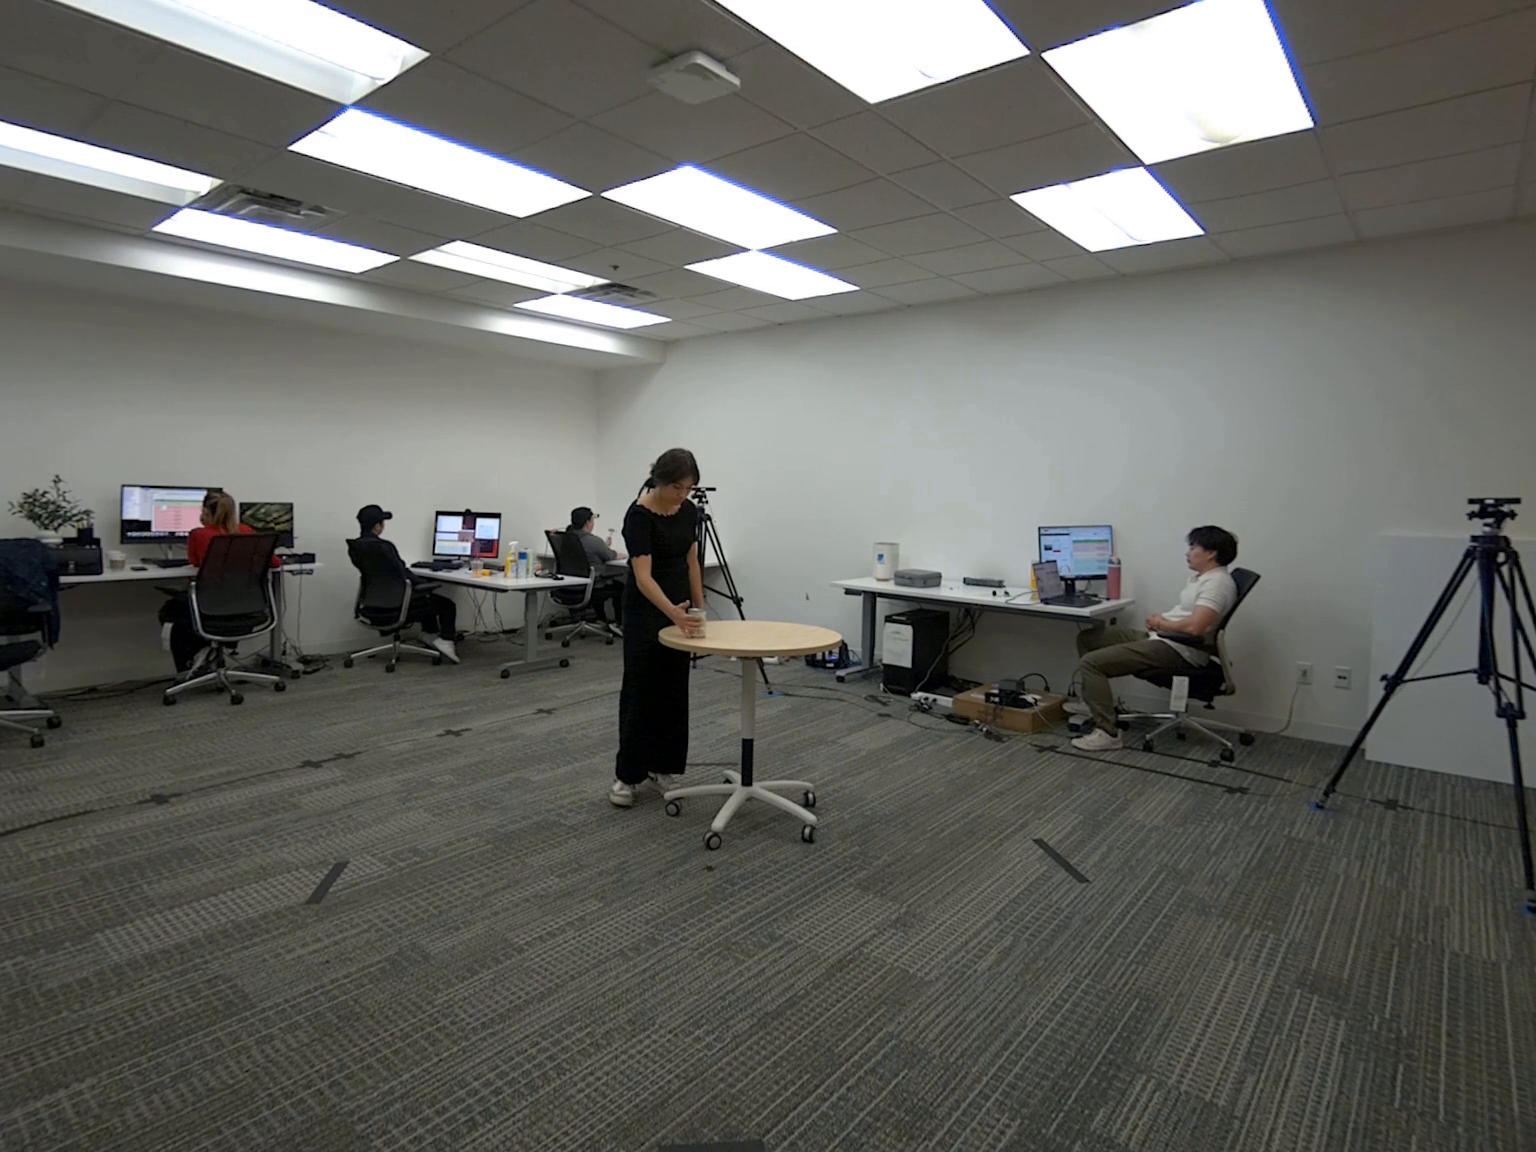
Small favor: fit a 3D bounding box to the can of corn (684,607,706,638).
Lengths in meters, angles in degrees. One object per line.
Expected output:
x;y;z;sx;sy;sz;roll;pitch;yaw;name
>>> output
-0.300;0.193;3.458;0.074;0.111;0.074;-2;4;-2;can of corn
